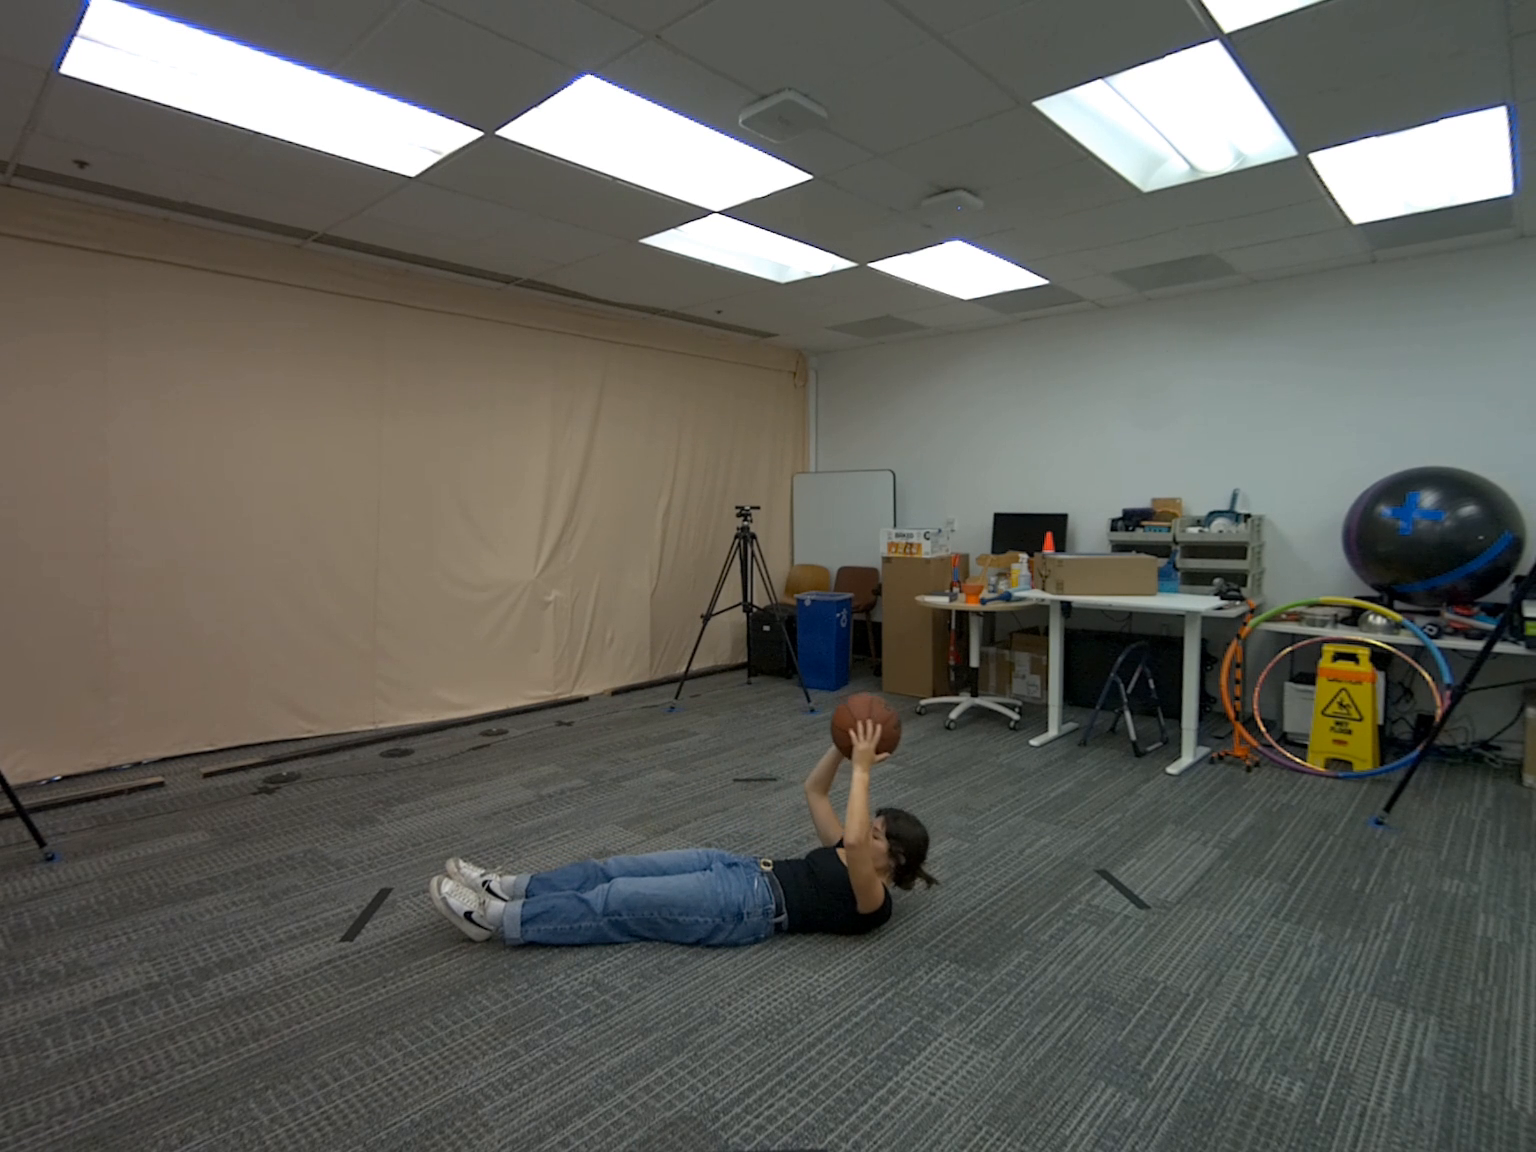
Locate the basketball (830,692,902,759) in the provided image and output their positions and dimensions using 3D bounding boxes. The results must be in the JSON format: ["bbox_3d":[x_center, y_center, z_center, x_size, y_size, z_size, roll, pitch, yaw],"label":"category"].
[{"bbox_3d":[0.336,0.530,2.858,0.236,0.235,0.237,0,4,-2],"label":"basketball"}]
